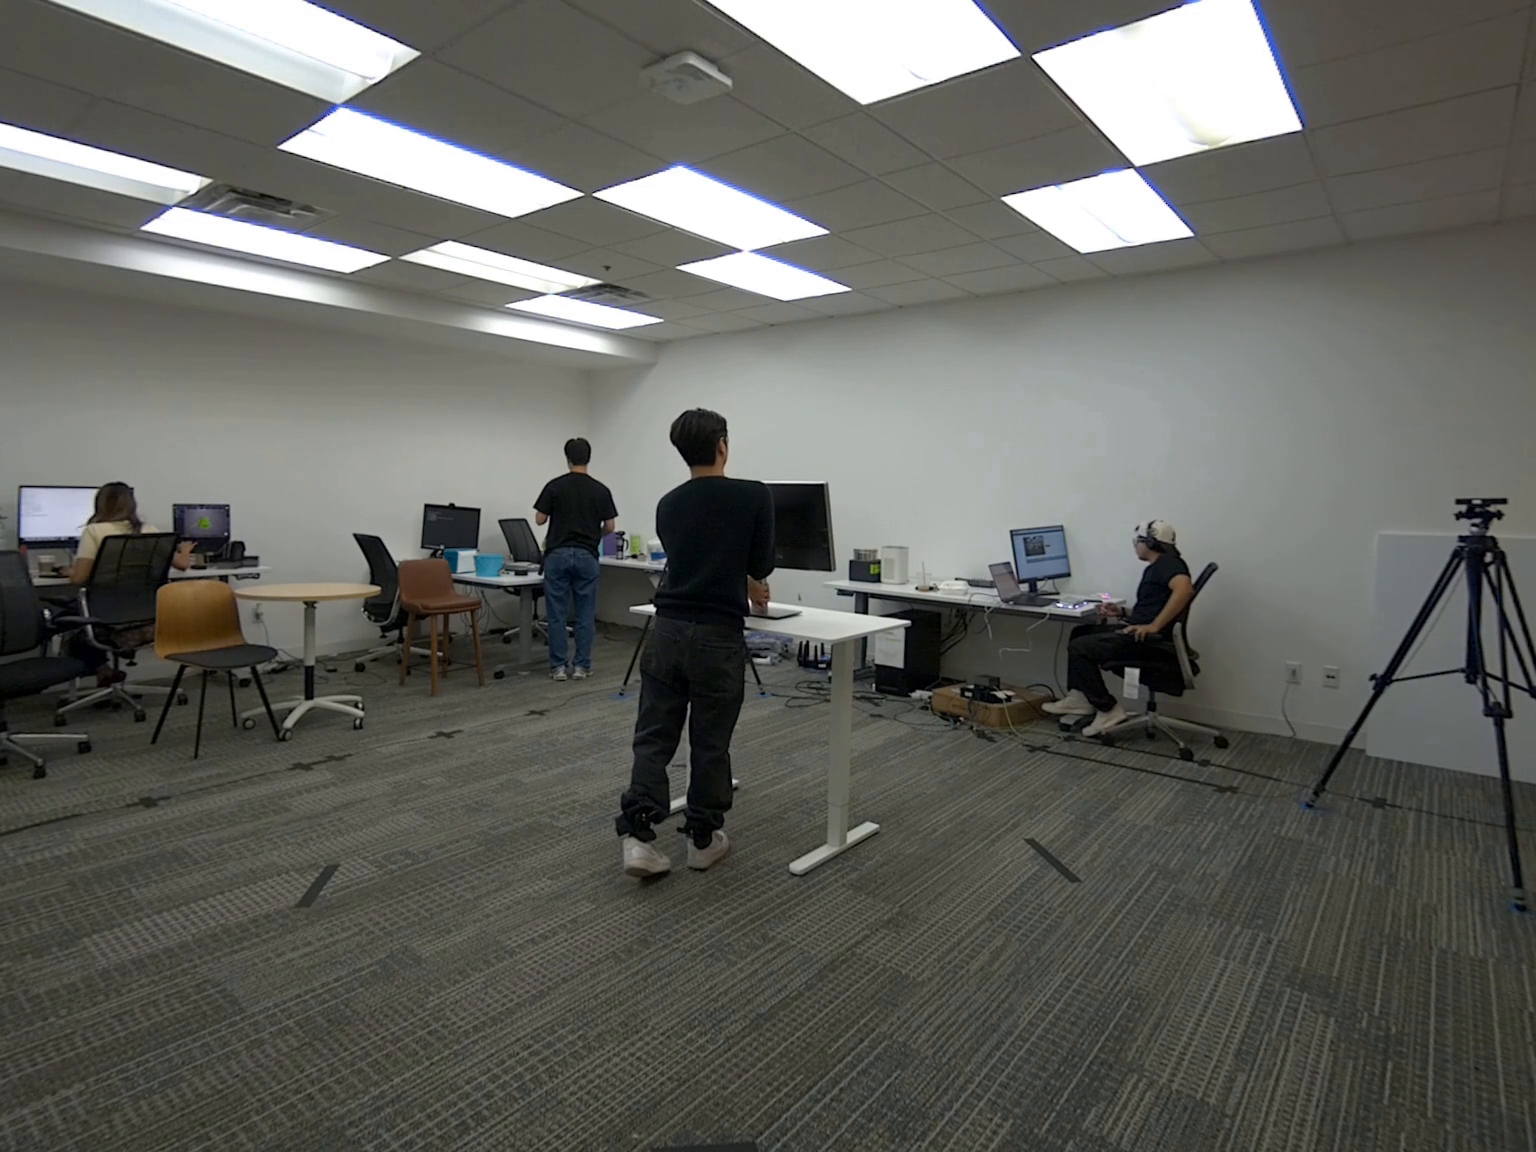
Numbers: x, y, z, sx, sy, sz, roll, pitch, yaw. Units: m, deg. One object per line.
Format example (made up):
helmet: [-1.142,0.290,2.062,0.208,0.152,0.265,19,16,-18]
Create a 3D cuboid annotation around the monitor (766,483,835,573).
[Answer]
monitor: [-0.017,-0.114,3.464,0.556,0.521,0.182,4,4,34]
